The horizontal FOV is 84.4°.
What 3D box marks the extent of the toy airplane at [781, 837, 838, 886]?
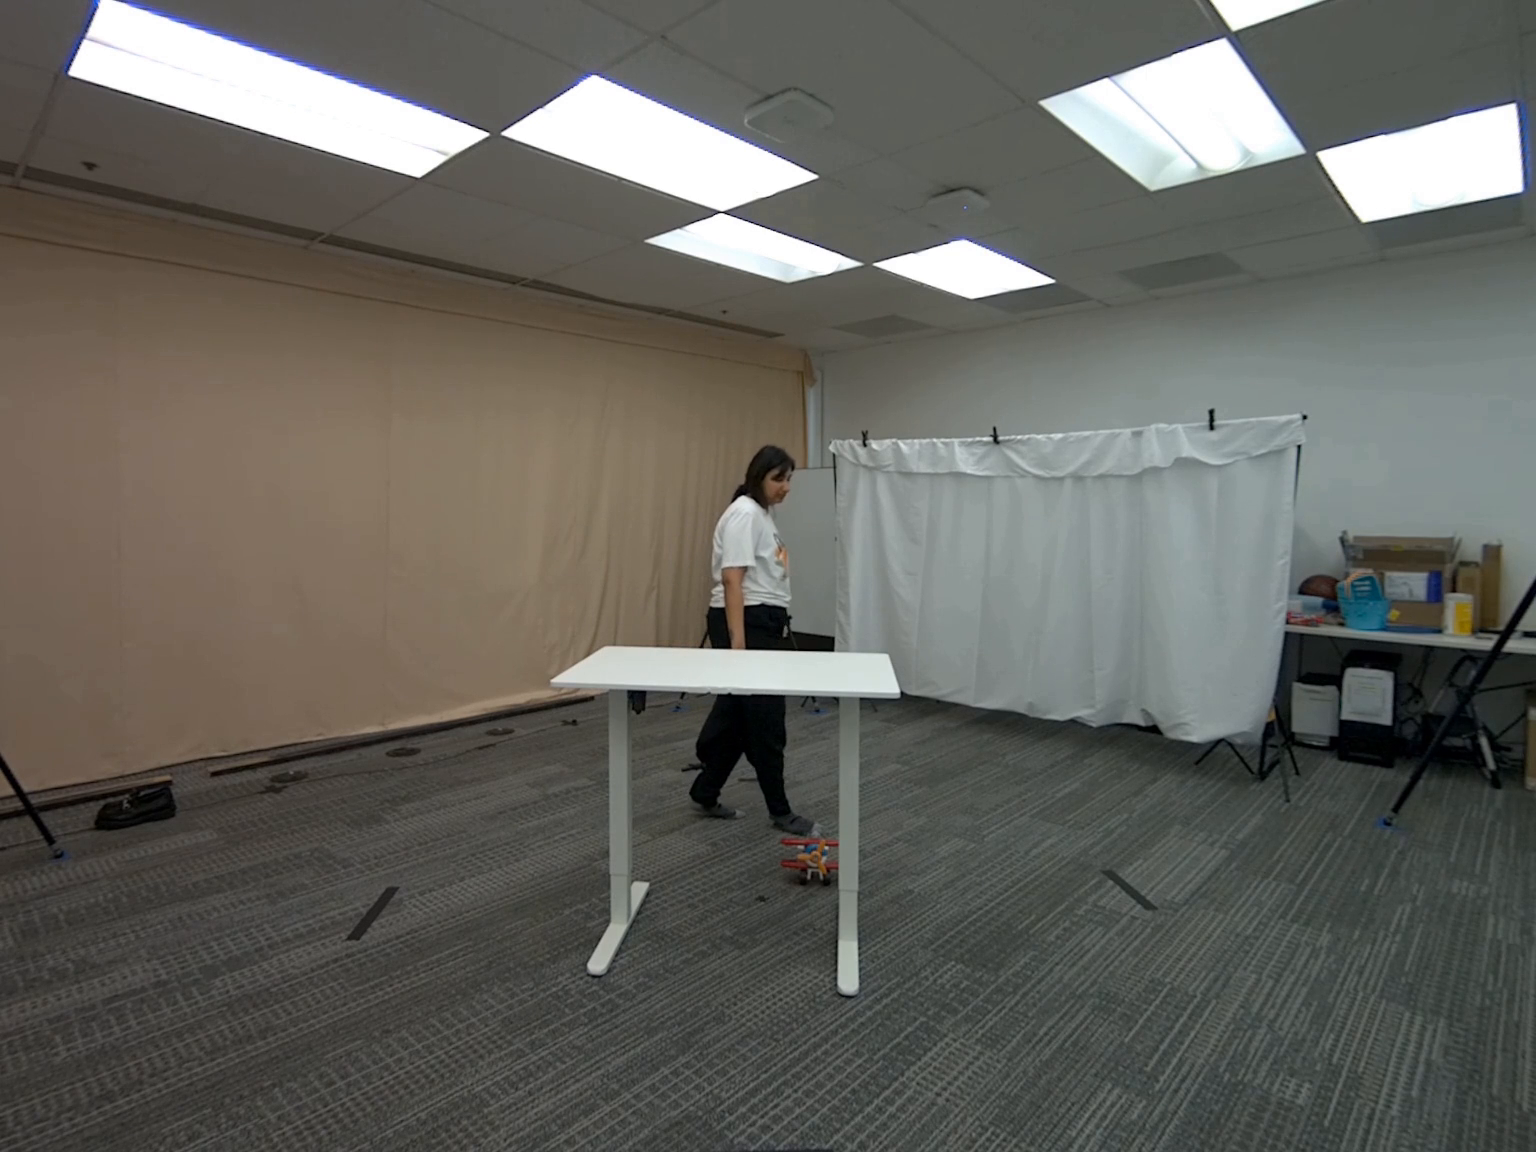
[{"bbox_3d":[0.155,1.052,3.175,0.245,0.156,0.266,-2,6,-28],"label":"toy airplane"}]
